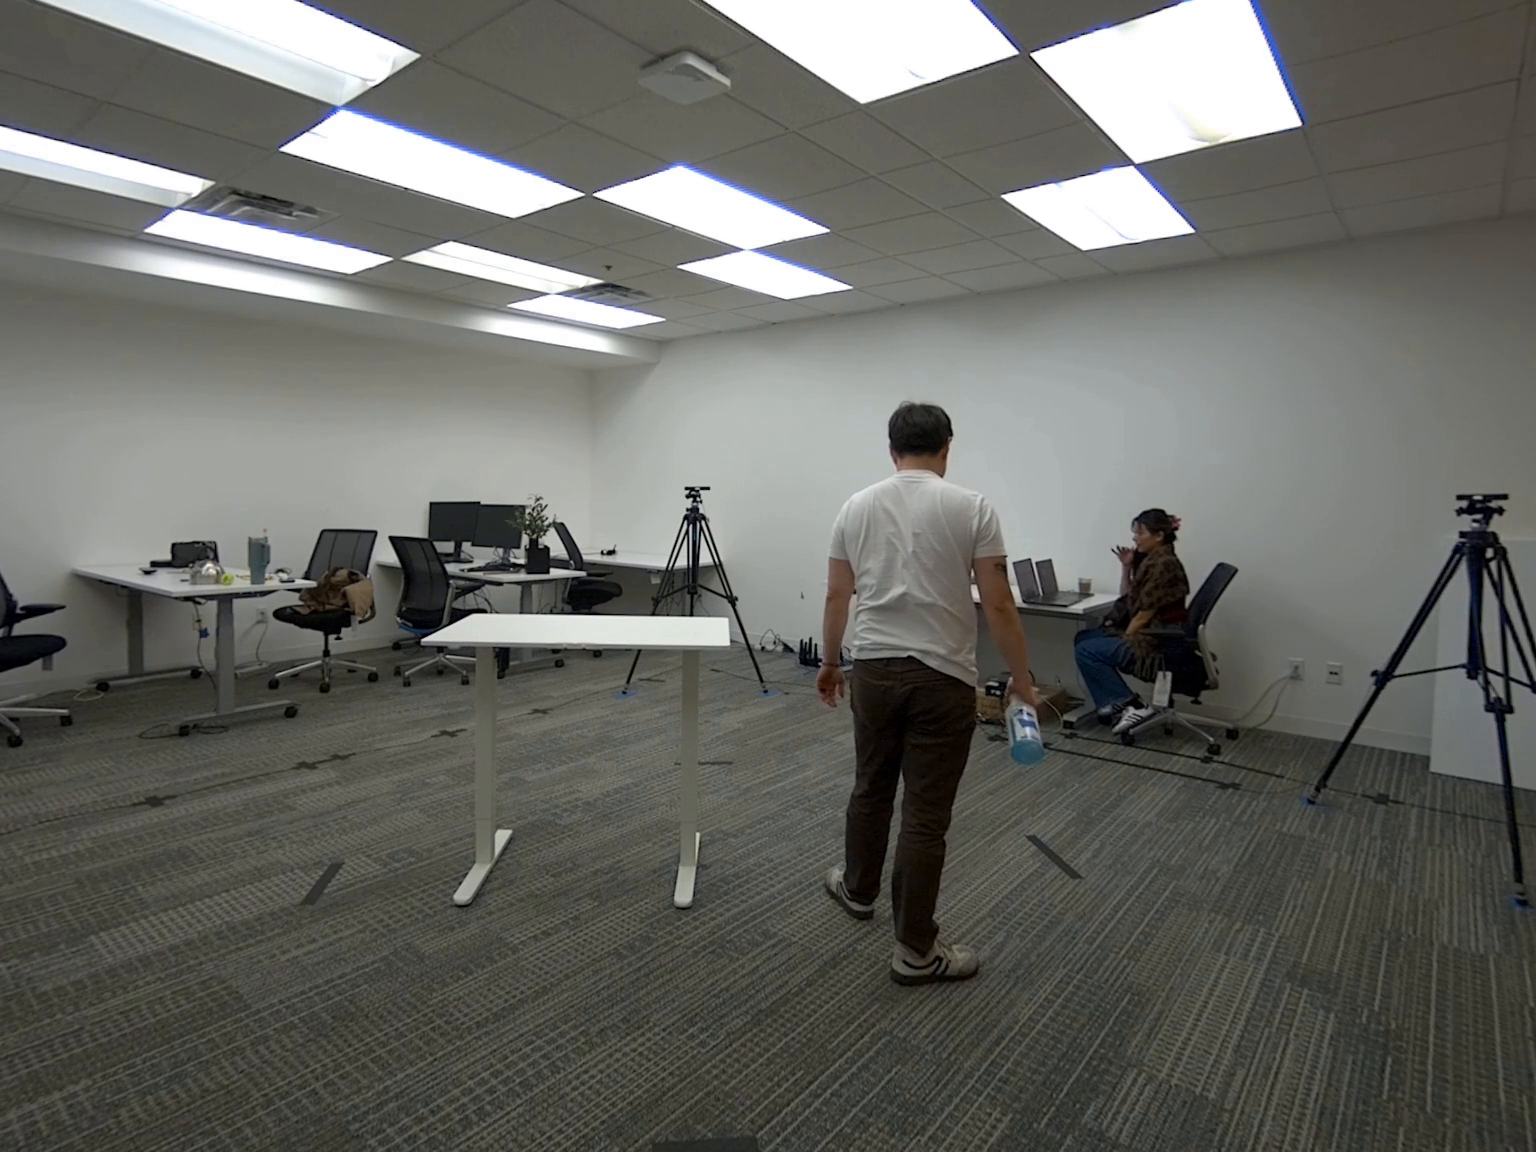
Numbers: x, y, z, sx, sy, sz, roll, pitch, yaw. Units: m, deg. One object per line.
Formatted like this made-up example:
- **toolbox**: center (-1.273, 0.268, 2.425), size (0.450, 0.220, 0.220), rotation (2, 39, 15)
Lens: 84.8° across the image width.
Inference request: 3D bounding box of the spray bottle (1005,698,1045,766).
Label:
- **spray bottle**: center (0.711, 0.400, 2.426), size (0.089, 0.087, 0.302), rotation (33, 32, -11)
